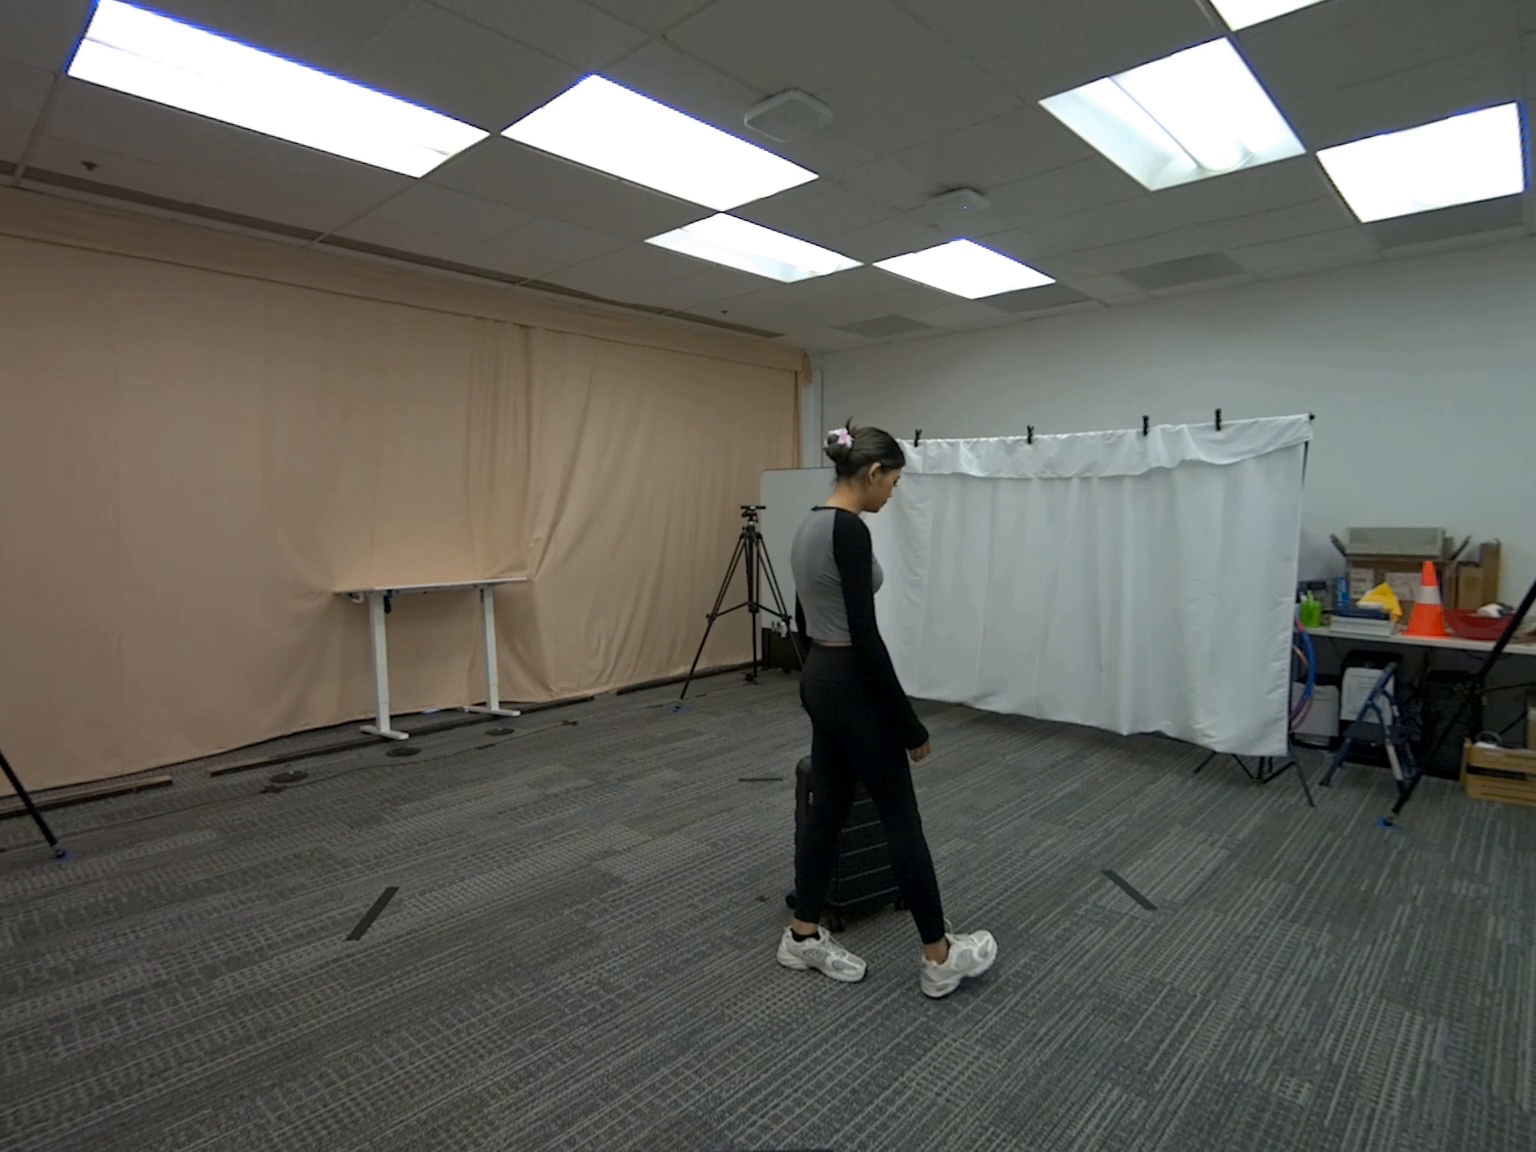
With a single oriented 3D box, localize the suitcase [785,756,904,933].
[{"bbox_3d":[0.289,0.870,2.887,0.365,0.548,0.256,-4,5,-31],"label":"suitcase"}]
